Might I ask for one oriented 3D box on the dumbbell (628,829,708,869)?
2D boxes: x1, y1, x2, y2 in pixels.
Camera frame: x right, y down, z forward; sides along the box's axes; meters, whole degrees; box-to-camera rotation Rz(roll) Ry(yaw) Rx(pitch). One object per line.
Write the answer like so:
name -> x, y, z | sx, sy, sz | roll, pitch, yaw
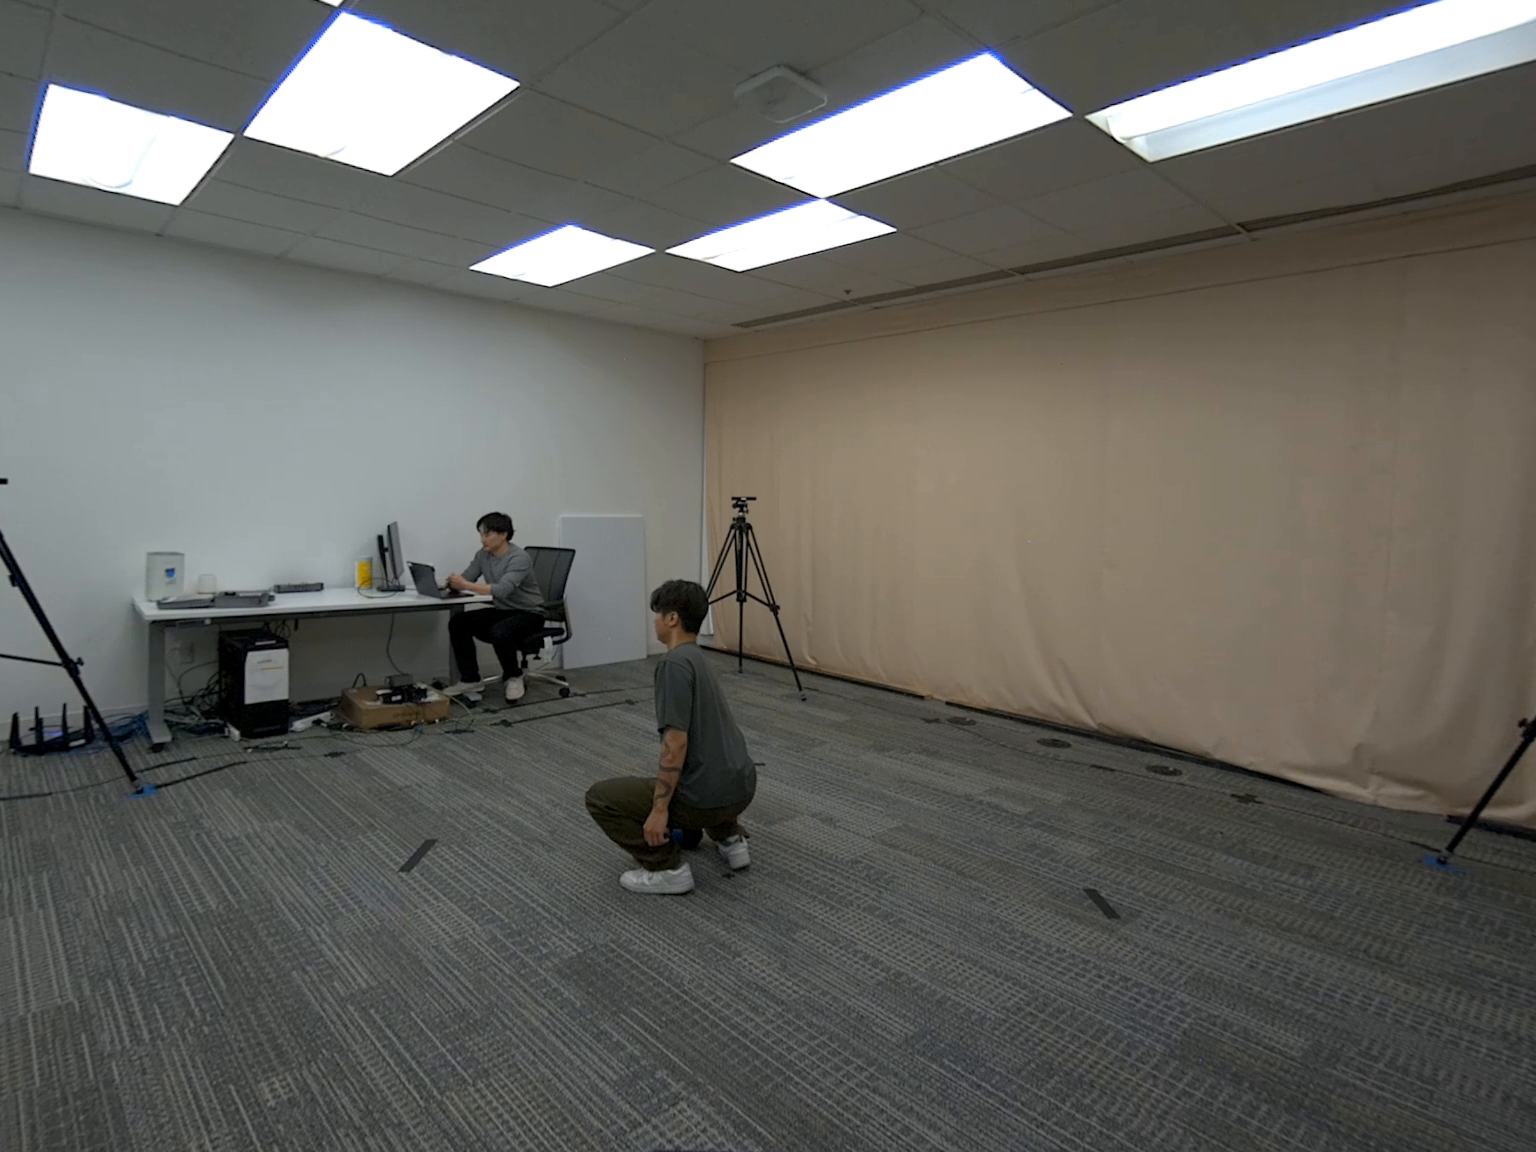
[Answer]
dumbbell -> -0.396, 1.029, 3.291 | 0.287, 0.124, 0.110 | -2, -19, -44
